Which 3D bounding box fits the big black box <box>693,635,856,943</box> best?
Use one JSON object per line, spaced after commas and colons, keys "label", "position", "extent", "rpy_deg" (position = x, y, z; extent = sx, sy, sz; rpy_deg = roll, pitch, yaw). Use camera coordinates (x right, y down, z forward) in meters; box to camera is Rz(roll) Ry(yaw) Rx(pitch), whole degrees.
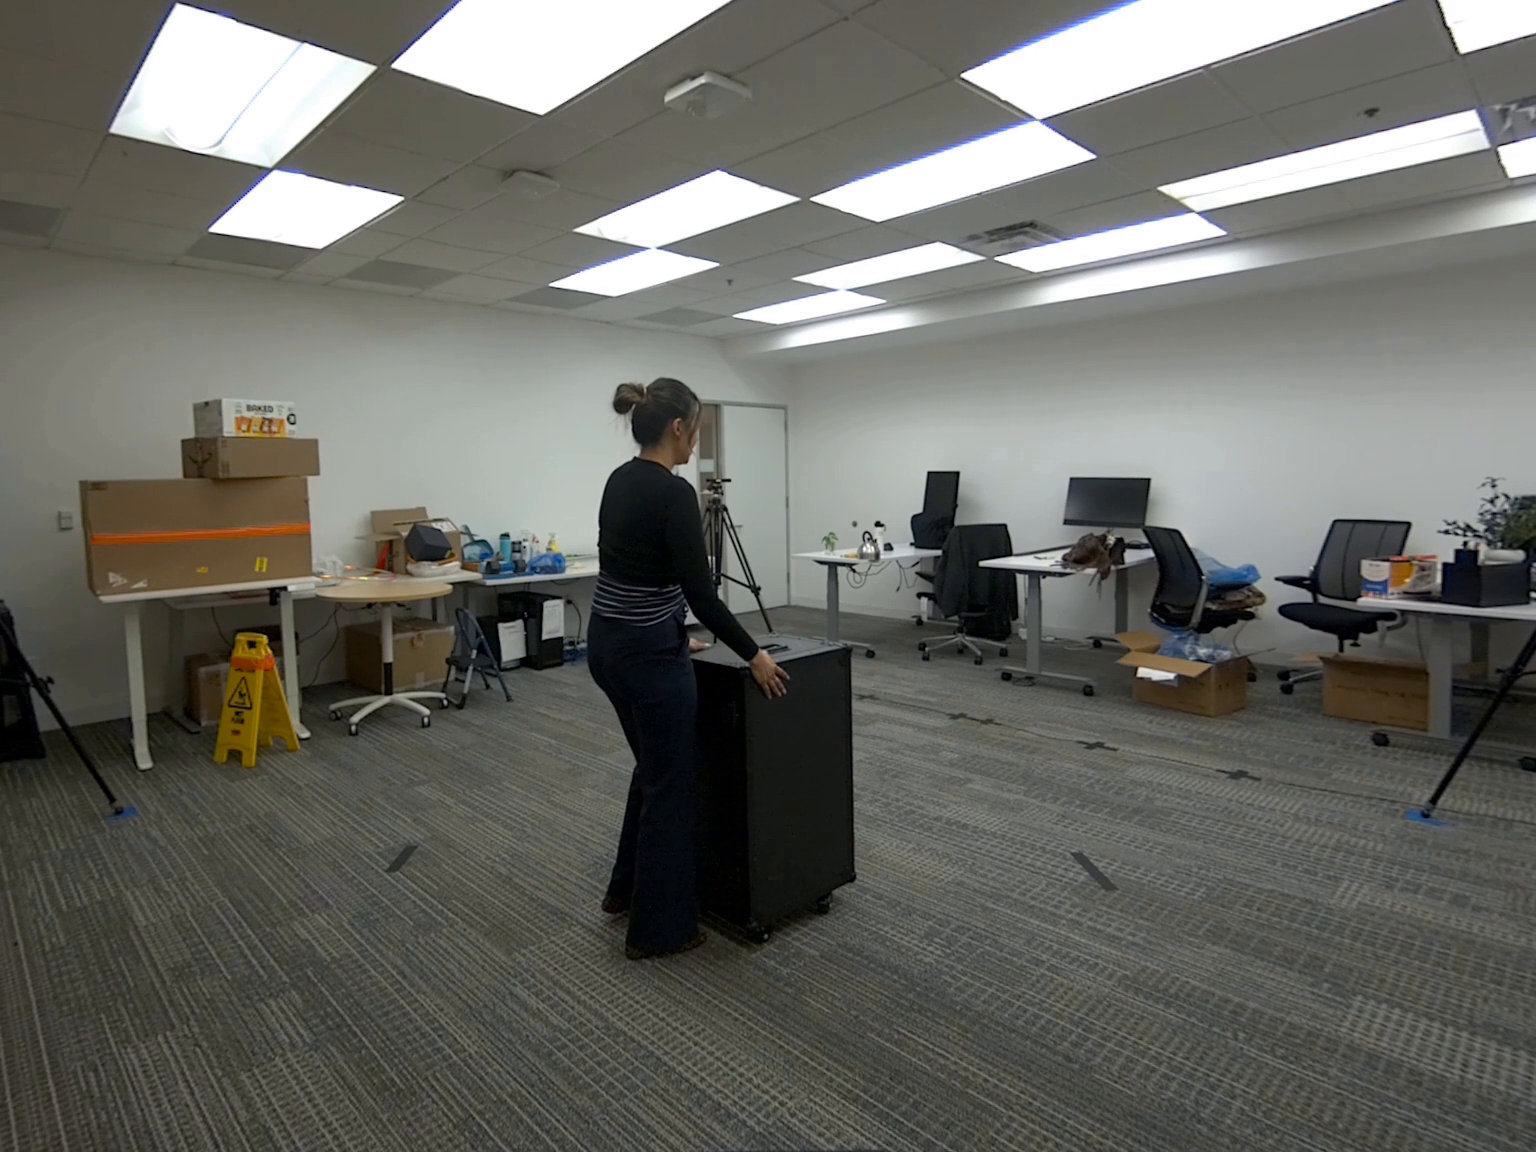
{"label": "big black box", "position": [-0.009, 0.599, 2.779], "extent": [0.507, 0.859, 0.408], "rpy_deg": [-5, 5, -43]}
